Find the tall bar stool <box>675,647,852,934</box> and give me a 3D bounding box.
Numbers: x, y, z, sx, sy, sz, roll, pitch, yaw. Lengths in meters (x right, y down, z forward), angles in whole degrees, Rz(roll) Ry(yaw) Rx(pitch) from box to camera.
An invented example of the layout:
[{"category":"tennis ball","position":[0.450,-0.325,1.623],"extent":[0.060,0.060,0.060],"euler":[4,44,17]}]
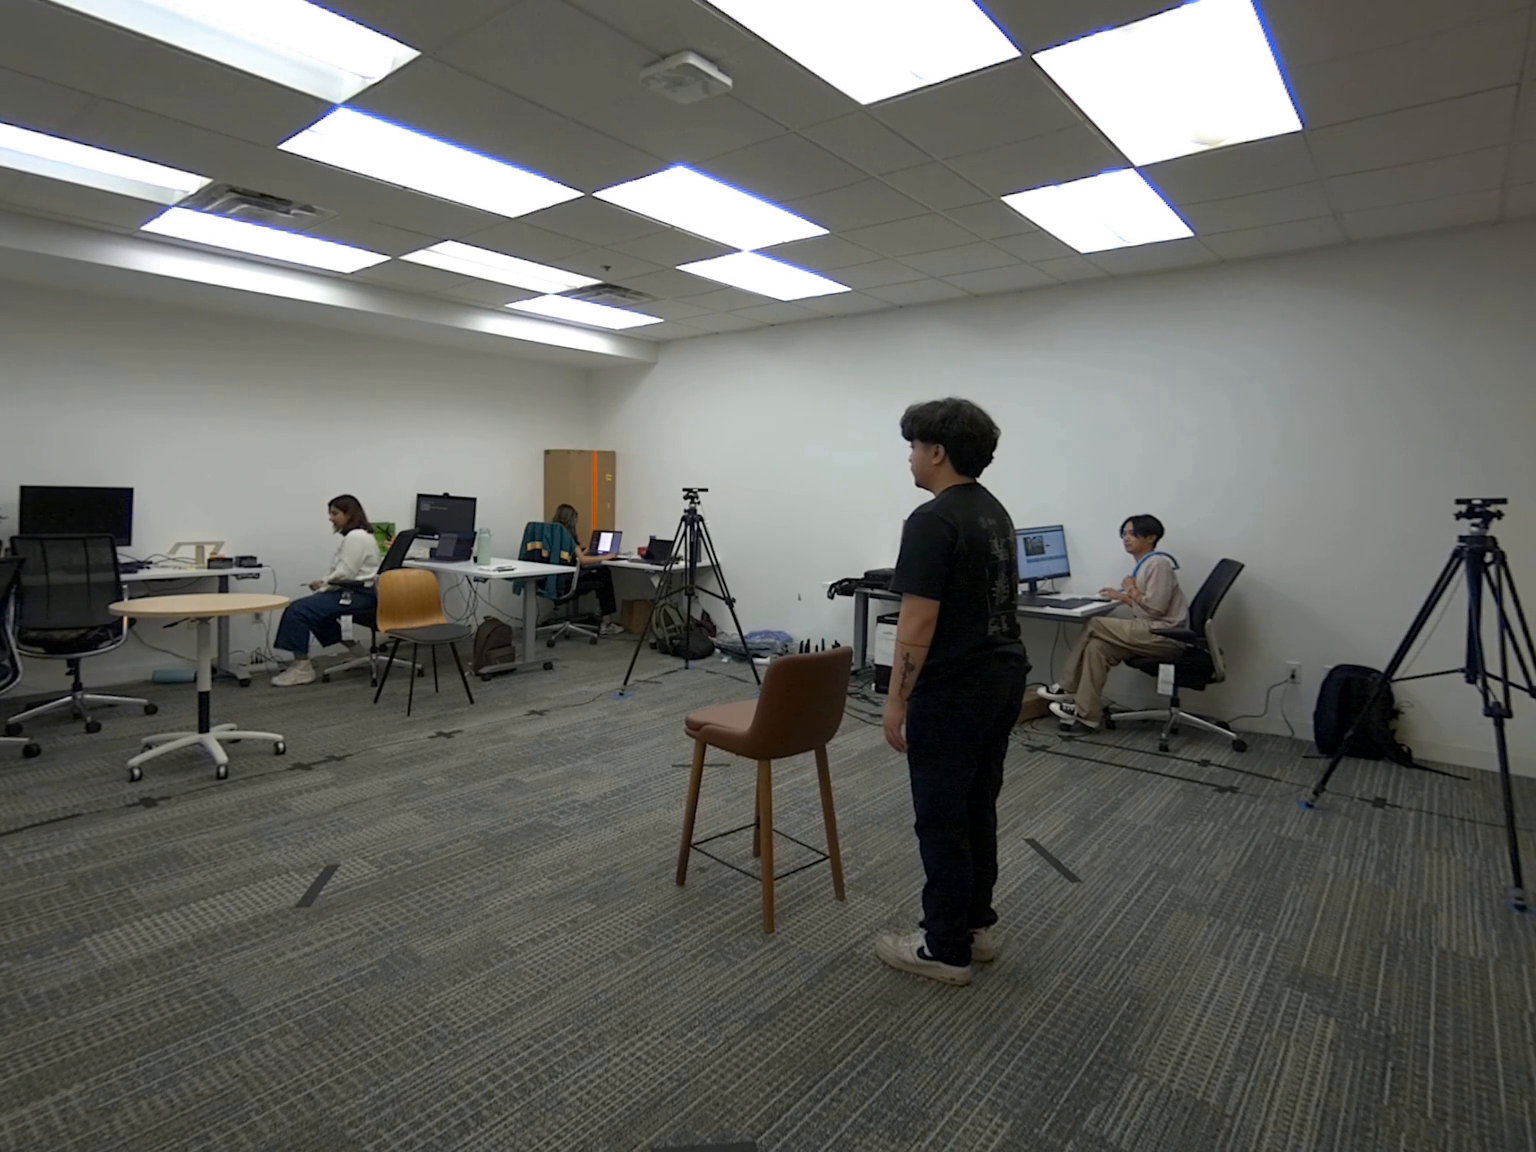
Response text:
[{"category":"tall bar stool","position":[-0.016,0.656,2.926],"extent":[0.442,0.887,0.484],"euler":[-1,6,-44]}]
